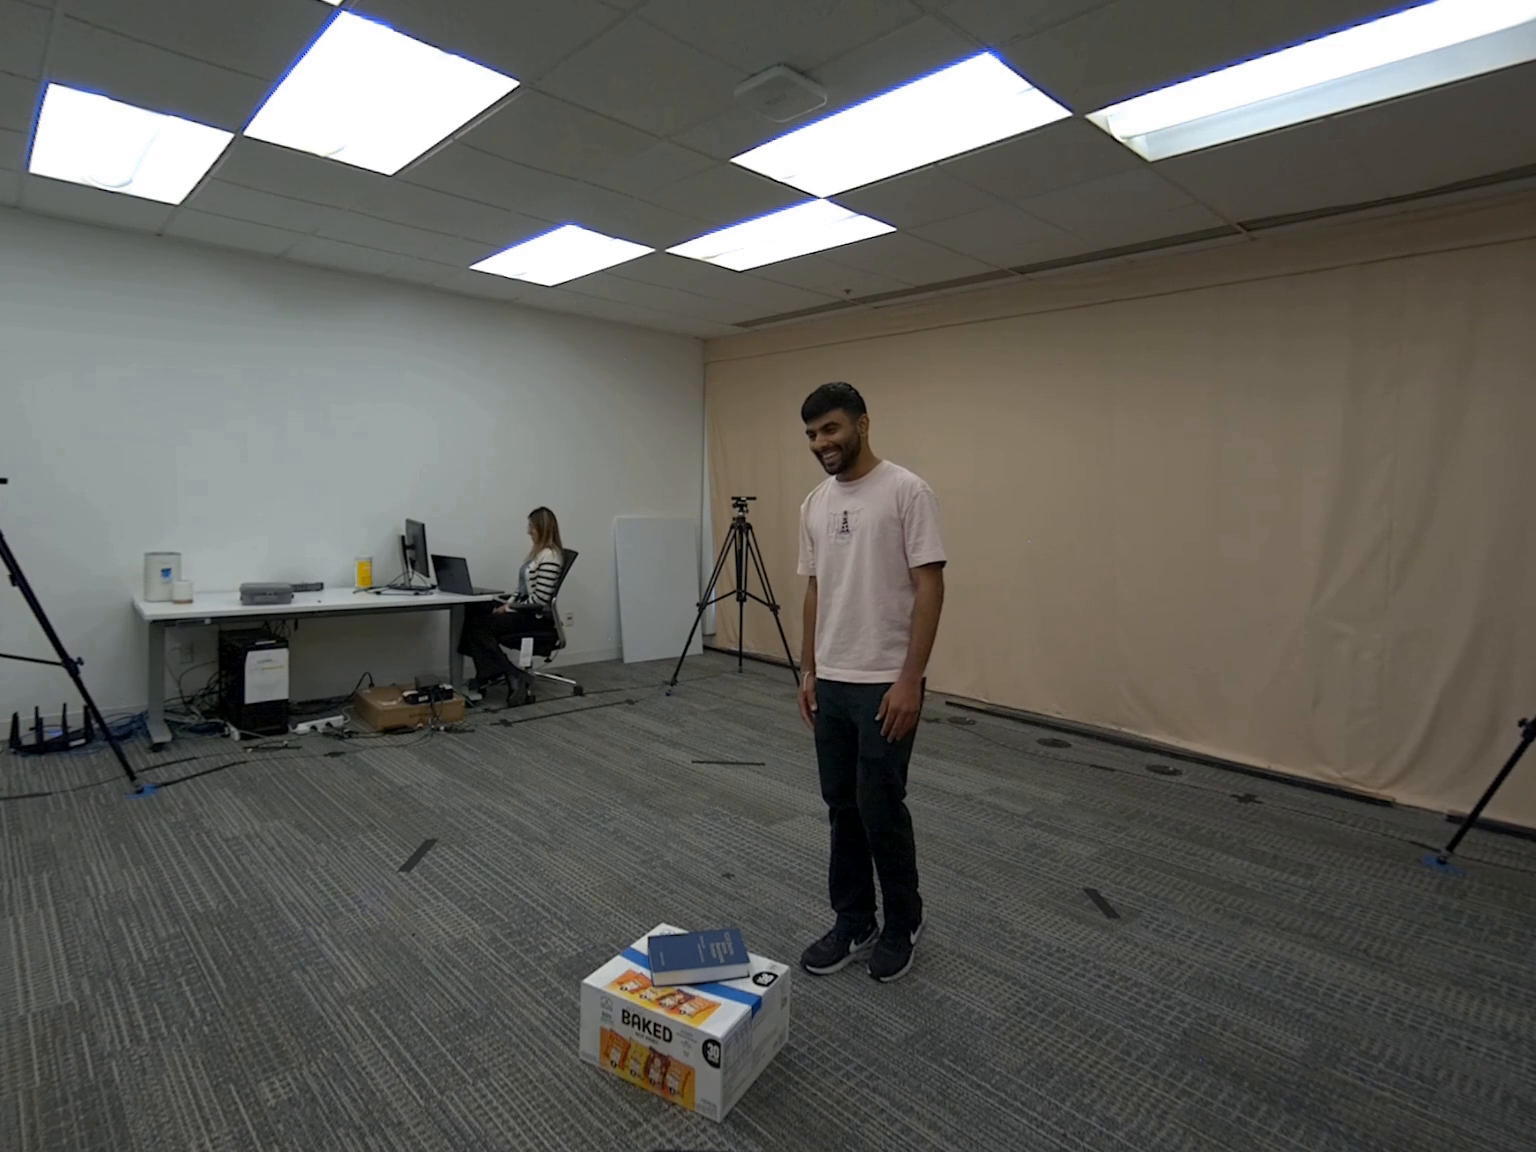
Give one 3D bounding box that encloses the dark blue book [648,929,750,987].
[{"bbox_3d":[-0.192,0.979,2.143,0.243,0.045,0.165,-1,8,-11],"label":"dark blue book"}]
